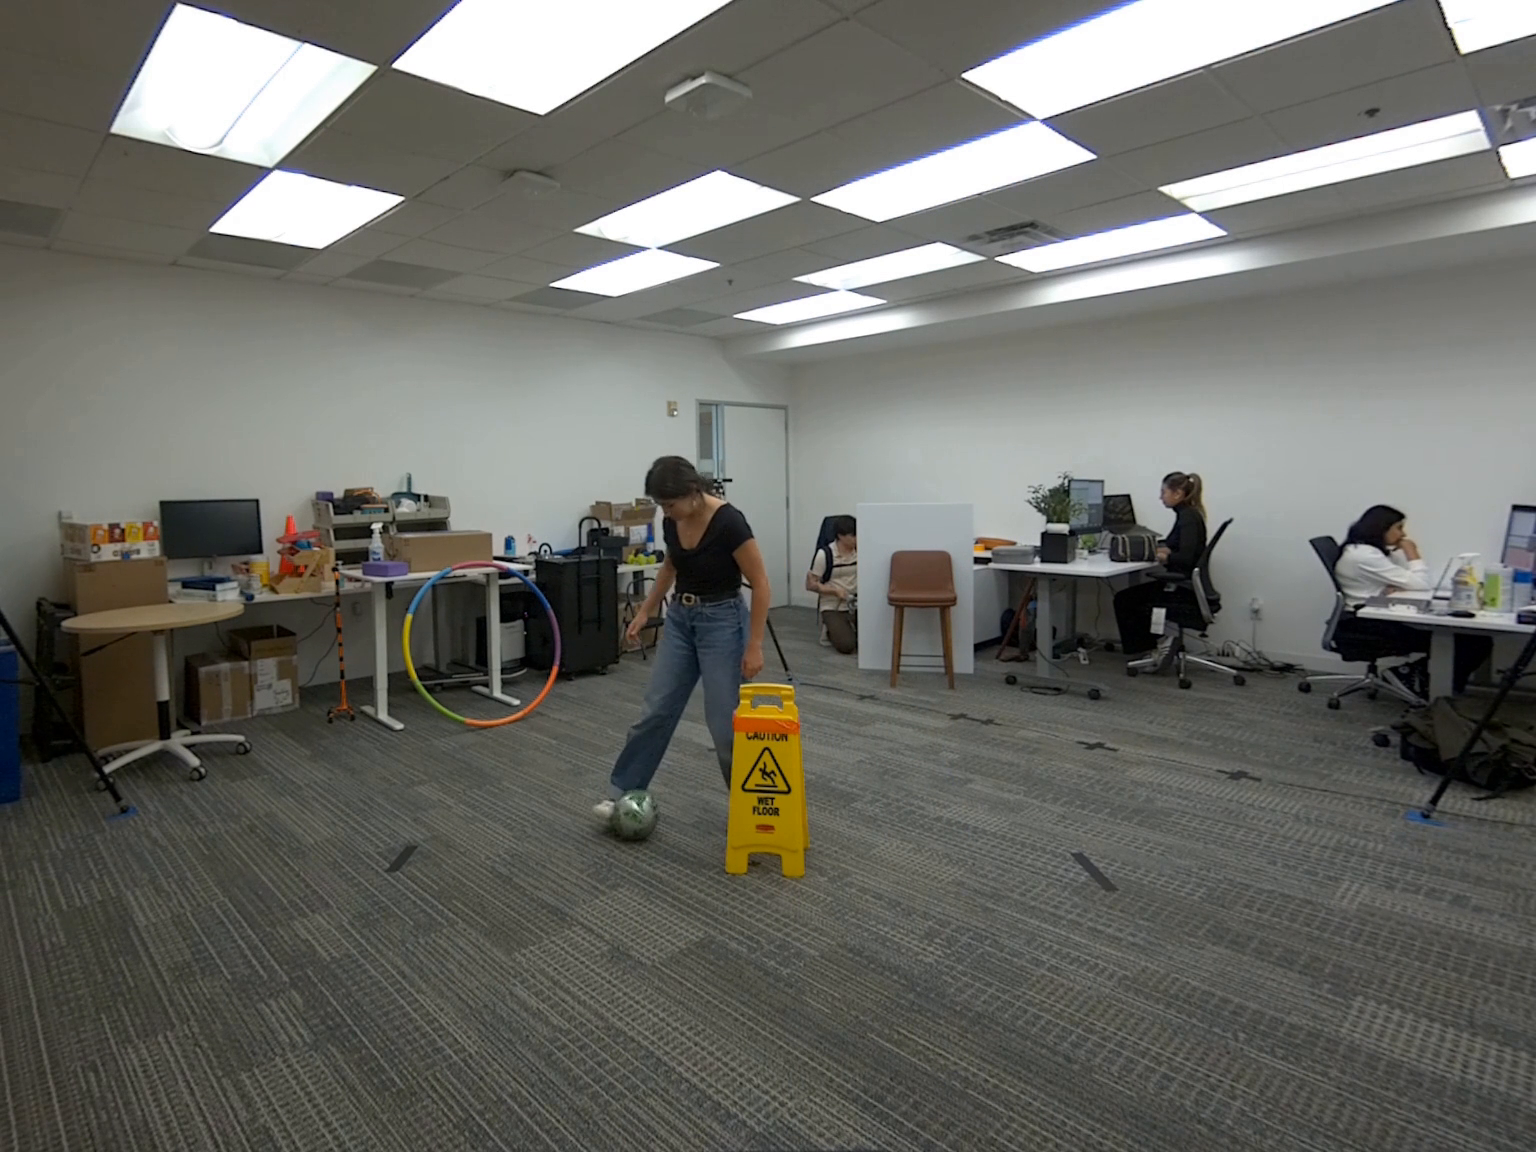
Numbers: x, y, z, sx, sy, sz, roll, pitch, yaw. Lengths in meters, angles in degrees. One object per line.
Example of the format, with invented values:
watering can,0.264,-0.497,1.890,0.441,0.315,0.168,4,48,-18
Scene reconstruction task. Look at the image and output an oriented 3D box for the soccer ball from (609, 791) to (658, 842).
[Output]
soccer ball,-0.492,0.935,3.335,0.187,0.187,0.188,-1,5,-2
